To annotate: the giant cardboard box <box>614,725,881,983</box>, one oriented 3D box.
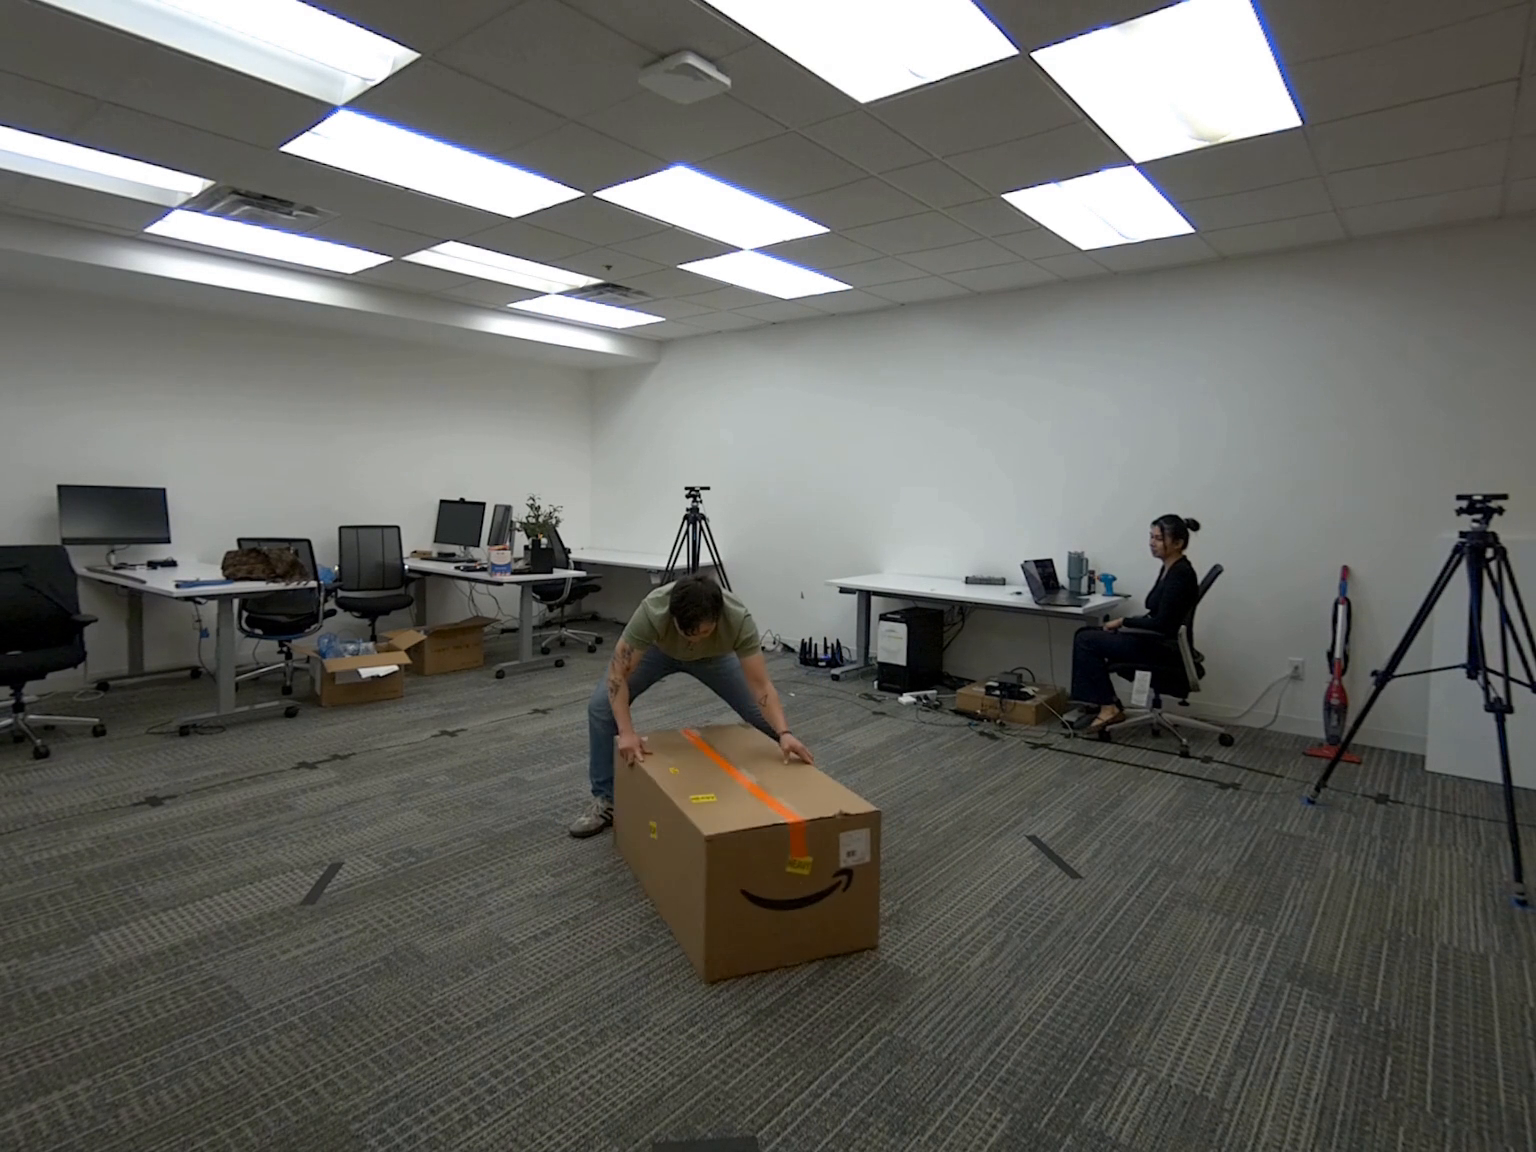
[{"bbox_3d":[-0.138,0.866,2.951,0.565,0.424,1.053,-2,6,-24],"label":"giant cardboard box"}]
